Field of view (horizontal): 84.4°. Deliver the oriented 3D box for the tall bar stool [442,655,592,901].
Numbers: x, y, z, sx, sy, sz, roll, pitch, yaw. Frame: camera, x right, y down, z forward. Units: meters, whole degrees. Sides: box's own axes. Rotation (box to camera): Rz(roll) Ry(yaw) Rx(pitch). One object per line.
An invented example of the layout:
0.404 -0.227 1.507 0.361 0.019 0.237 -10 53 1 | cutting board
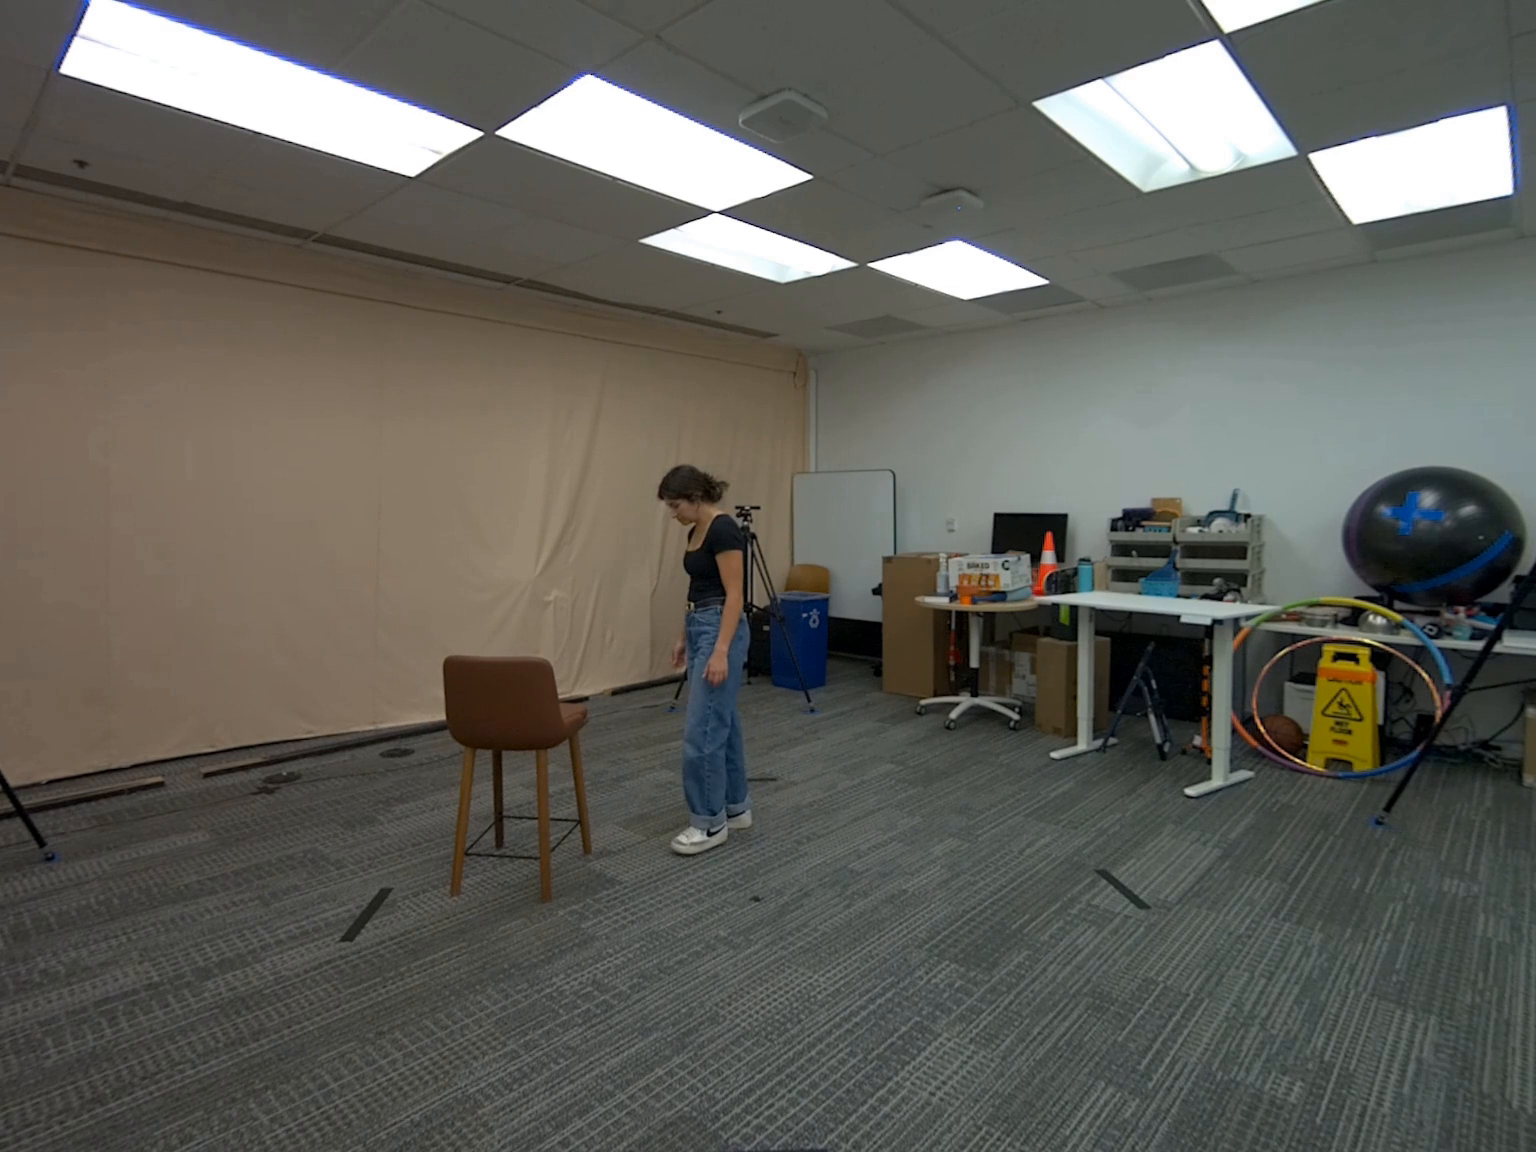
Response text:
-0.945 0.700 3.189 0.461 0.887 0.464 0 5 9 | tall bar stool
